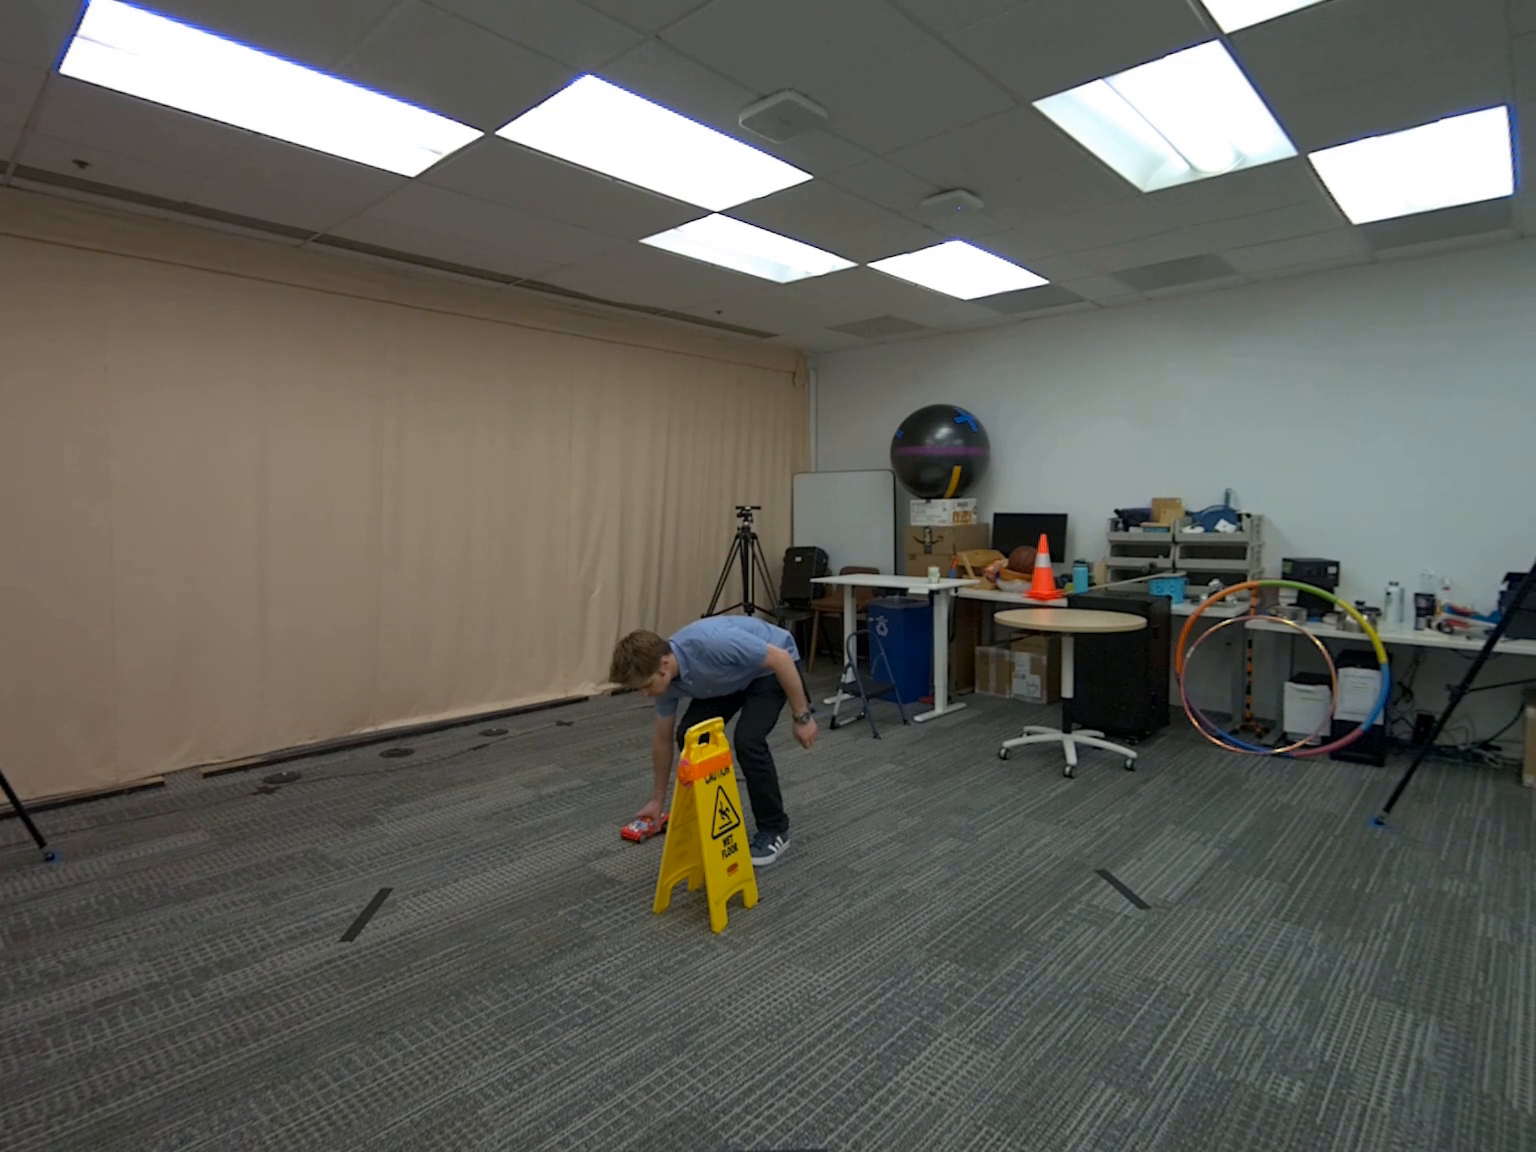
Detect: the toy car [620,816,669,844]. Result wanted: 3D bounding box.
[{"bbox_3d":[-0.514,1.070,3.588,0.134,0.082,0.249,2,14,35],"label":"toy car"}]
